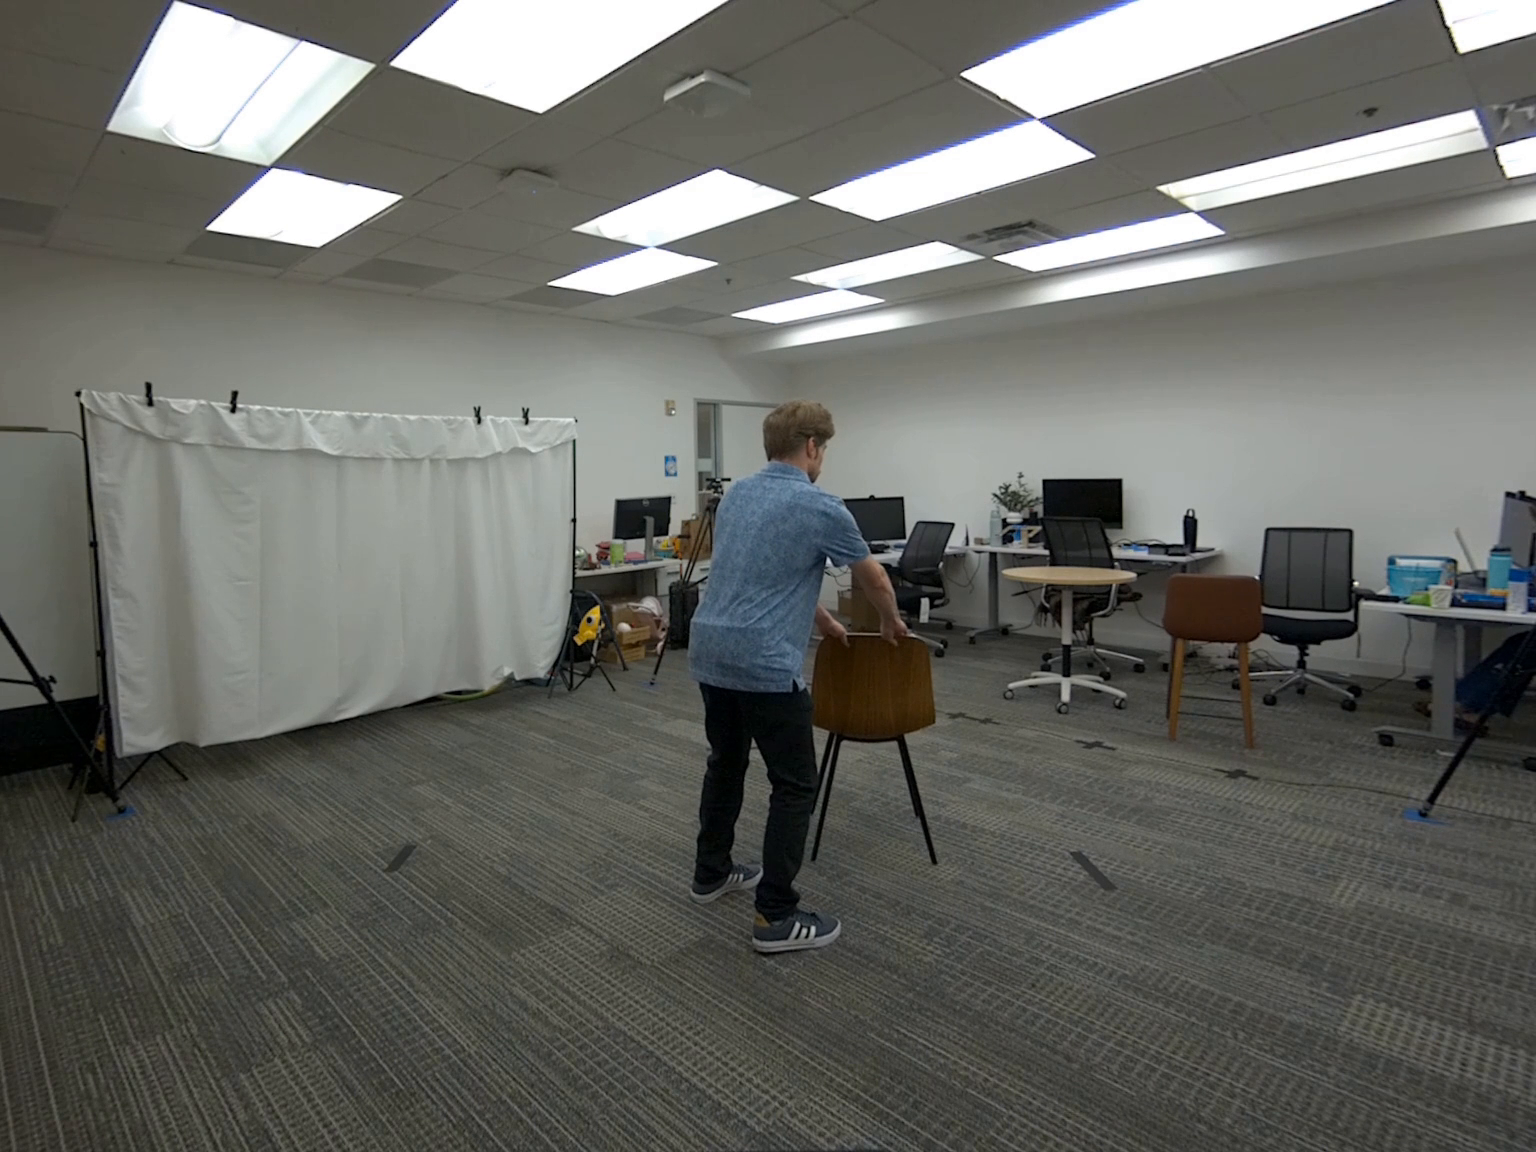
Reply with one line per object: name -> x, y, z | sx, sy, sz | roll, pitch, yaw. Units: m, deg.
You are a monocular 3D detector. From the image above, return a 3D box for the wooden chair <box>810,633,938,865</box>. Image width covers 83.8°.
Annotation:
wooden chair -> 0.382, 0.585, 3.284 | 0.480, 0.871, 0.525 | -1, 8, 3
